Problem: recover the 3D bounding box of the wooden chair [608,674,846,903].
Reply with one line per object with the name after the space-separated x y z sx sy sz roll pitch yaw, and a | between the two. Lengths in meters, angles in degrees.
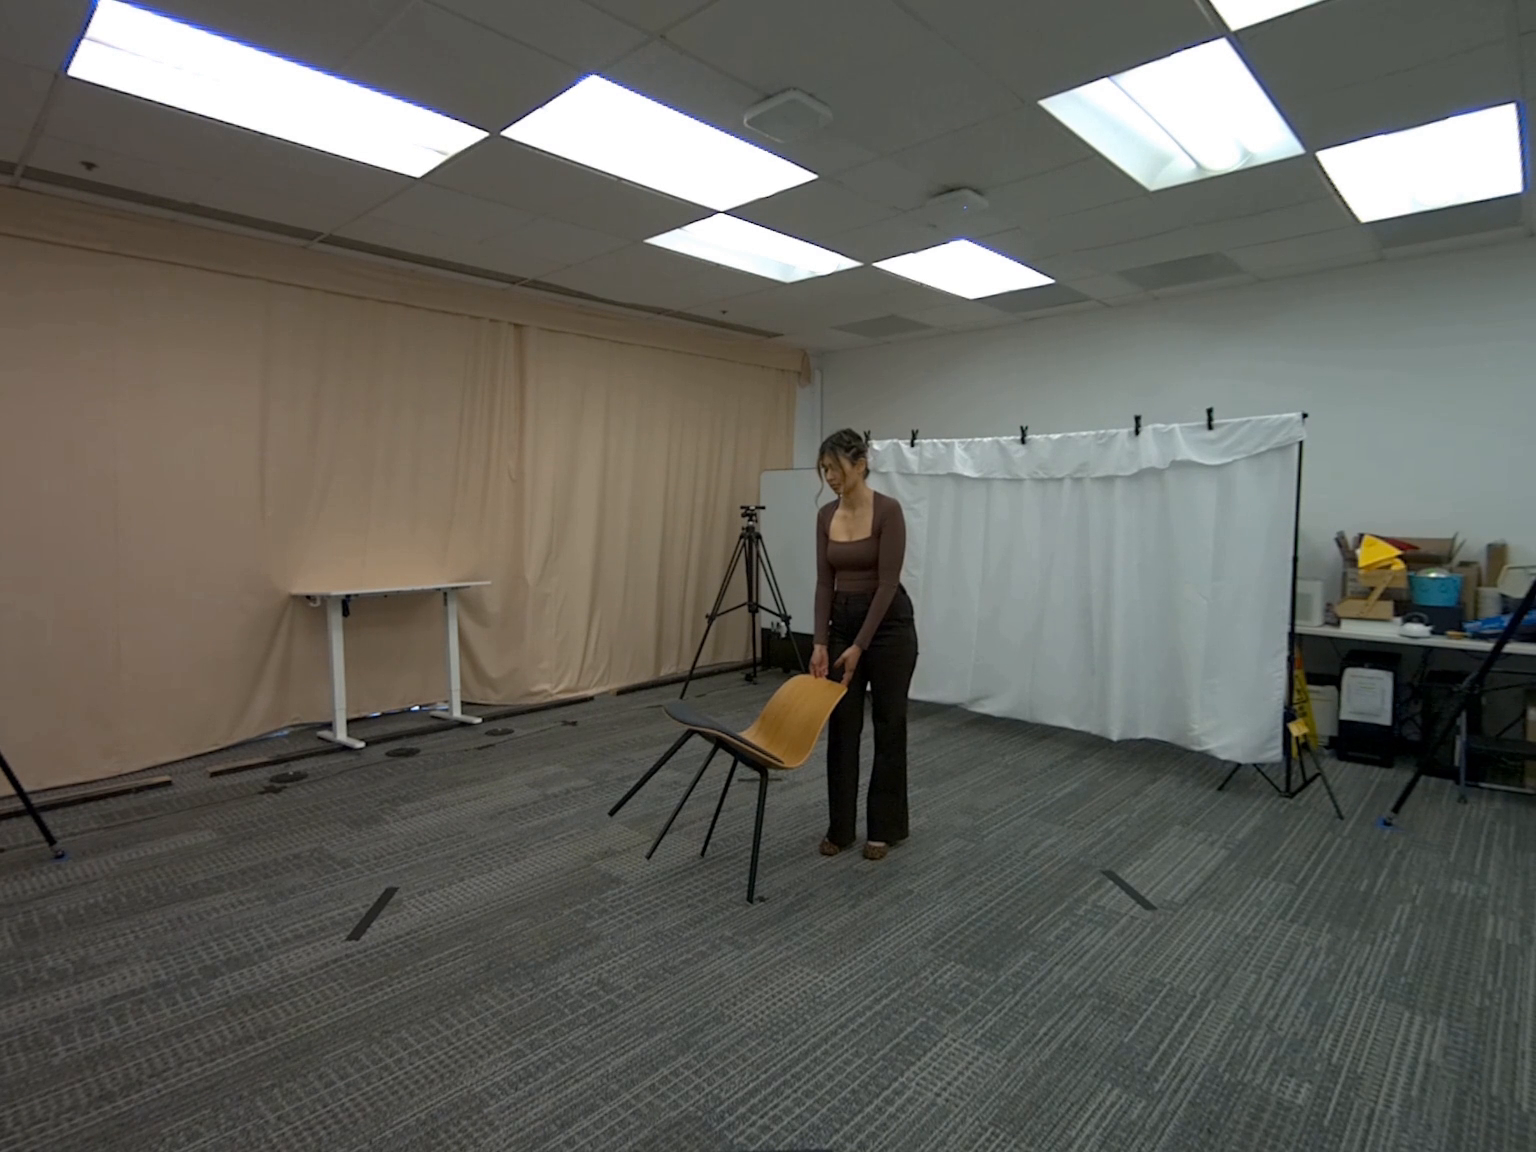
-0.140 0.646 3.121 0.510 0.877 0.491 36 -11 -23 | wooden chair
